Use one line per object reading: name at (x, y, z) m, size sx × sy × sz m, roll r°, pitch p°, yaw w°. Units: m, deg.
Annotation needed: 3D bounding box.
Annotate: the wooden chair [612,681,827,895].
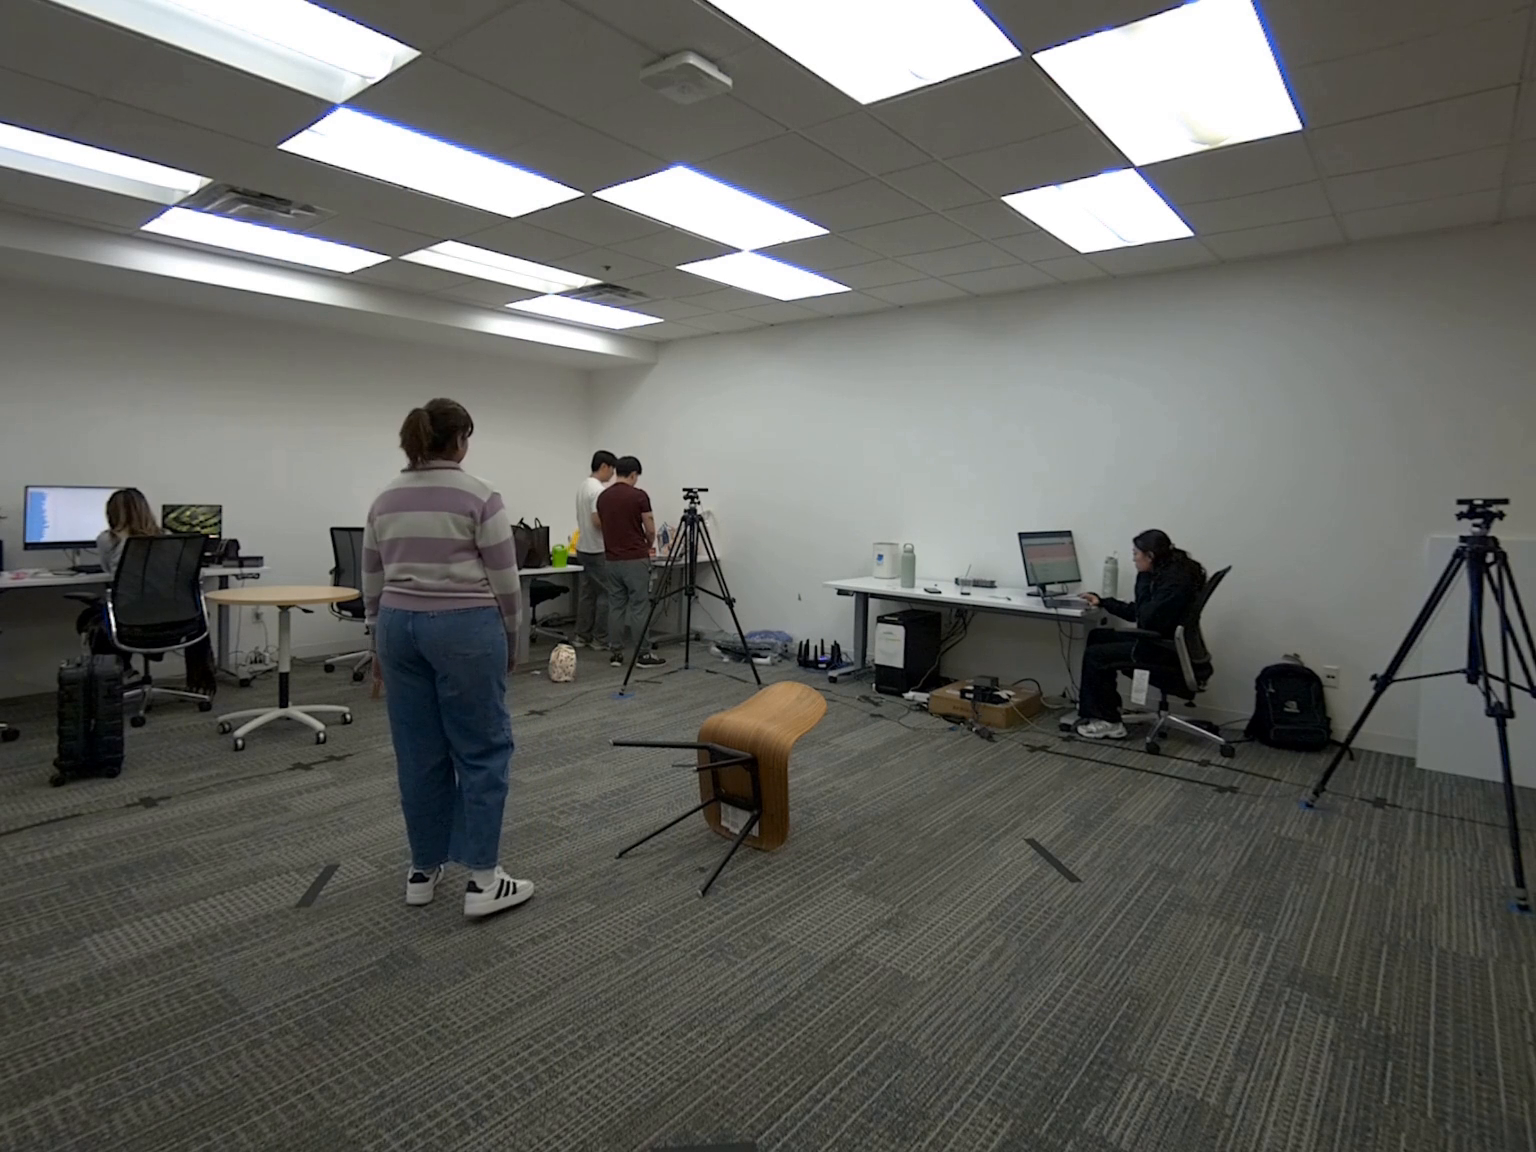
wooden chair at (-0.144, 0.793, 3.329) m, size 0.494 × 0.518 × 0.857 m, roll 3°, pitch 14°, yaw 41°
